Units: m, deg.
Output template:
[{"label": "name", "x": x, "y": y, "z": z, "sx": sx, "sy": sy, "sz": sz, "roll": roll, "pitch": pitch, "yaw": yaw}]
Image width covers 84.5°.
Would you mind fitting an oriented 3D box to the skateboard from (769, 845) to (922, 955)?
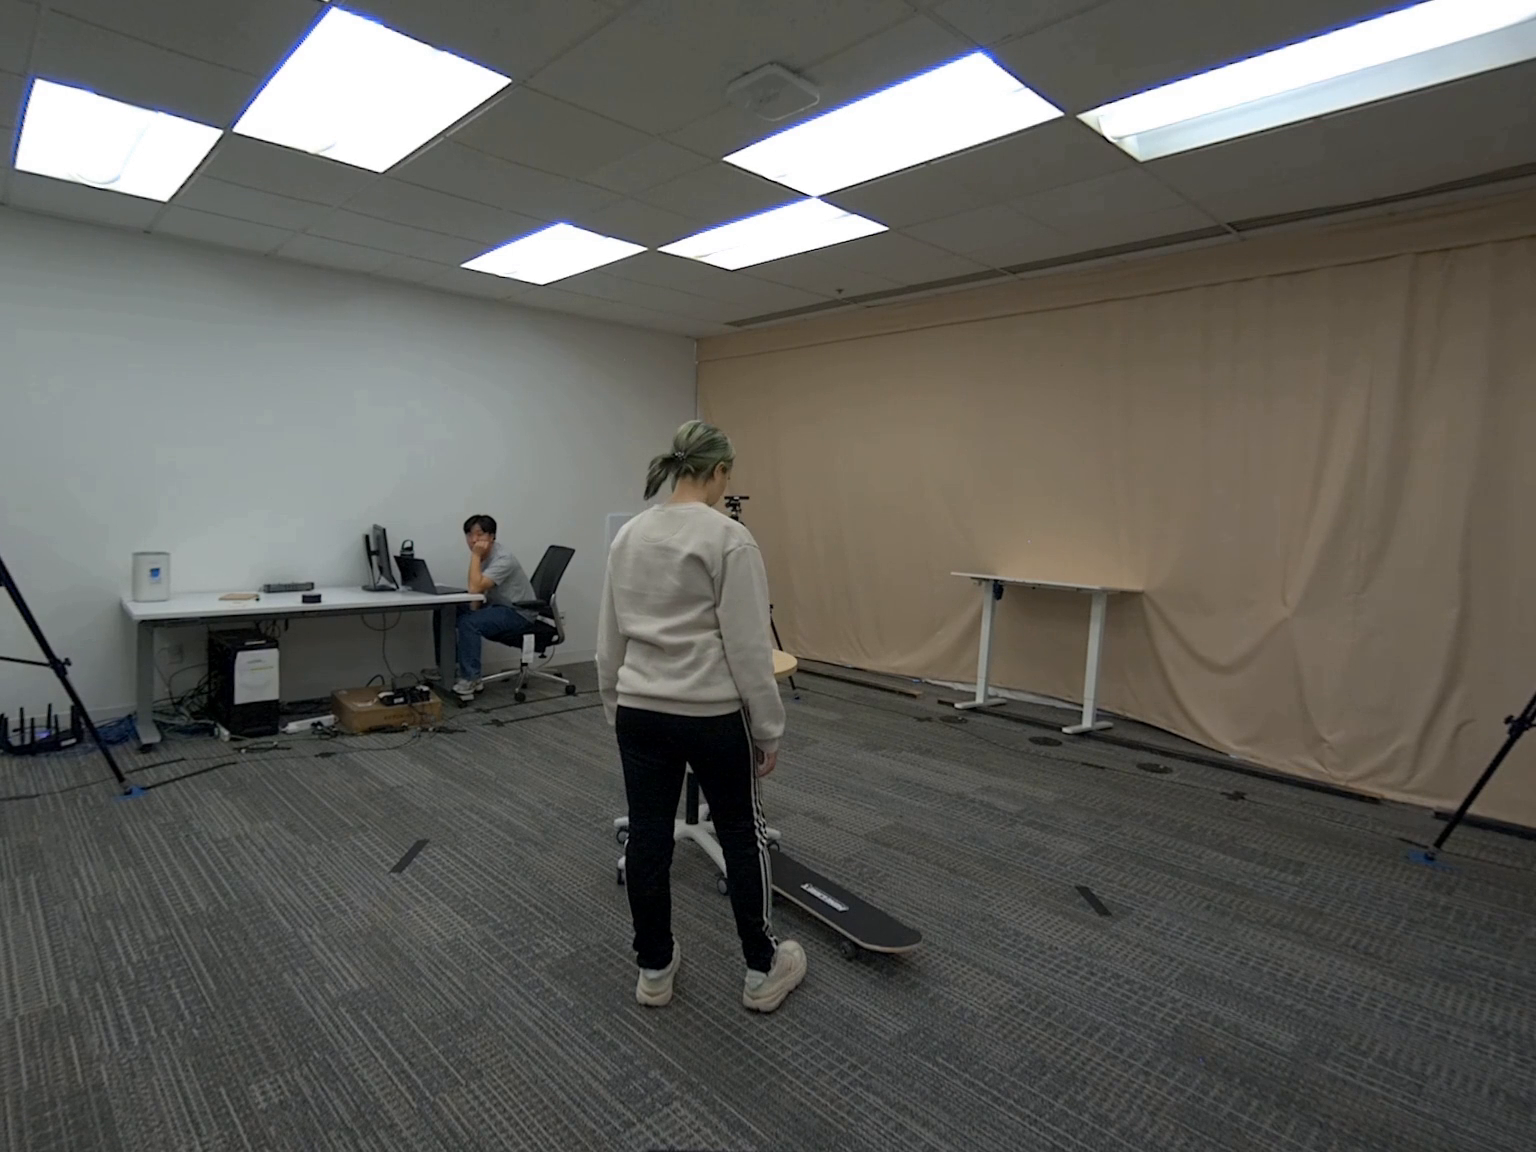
[{"label": "skateboard", "x": 0.170, "y": 1.087, "z": 2.764, "sx": 0.189, "sy": 0.110, "sz": 0.805, "roll": -2, "pitch": 7, "yaw": -37}]
